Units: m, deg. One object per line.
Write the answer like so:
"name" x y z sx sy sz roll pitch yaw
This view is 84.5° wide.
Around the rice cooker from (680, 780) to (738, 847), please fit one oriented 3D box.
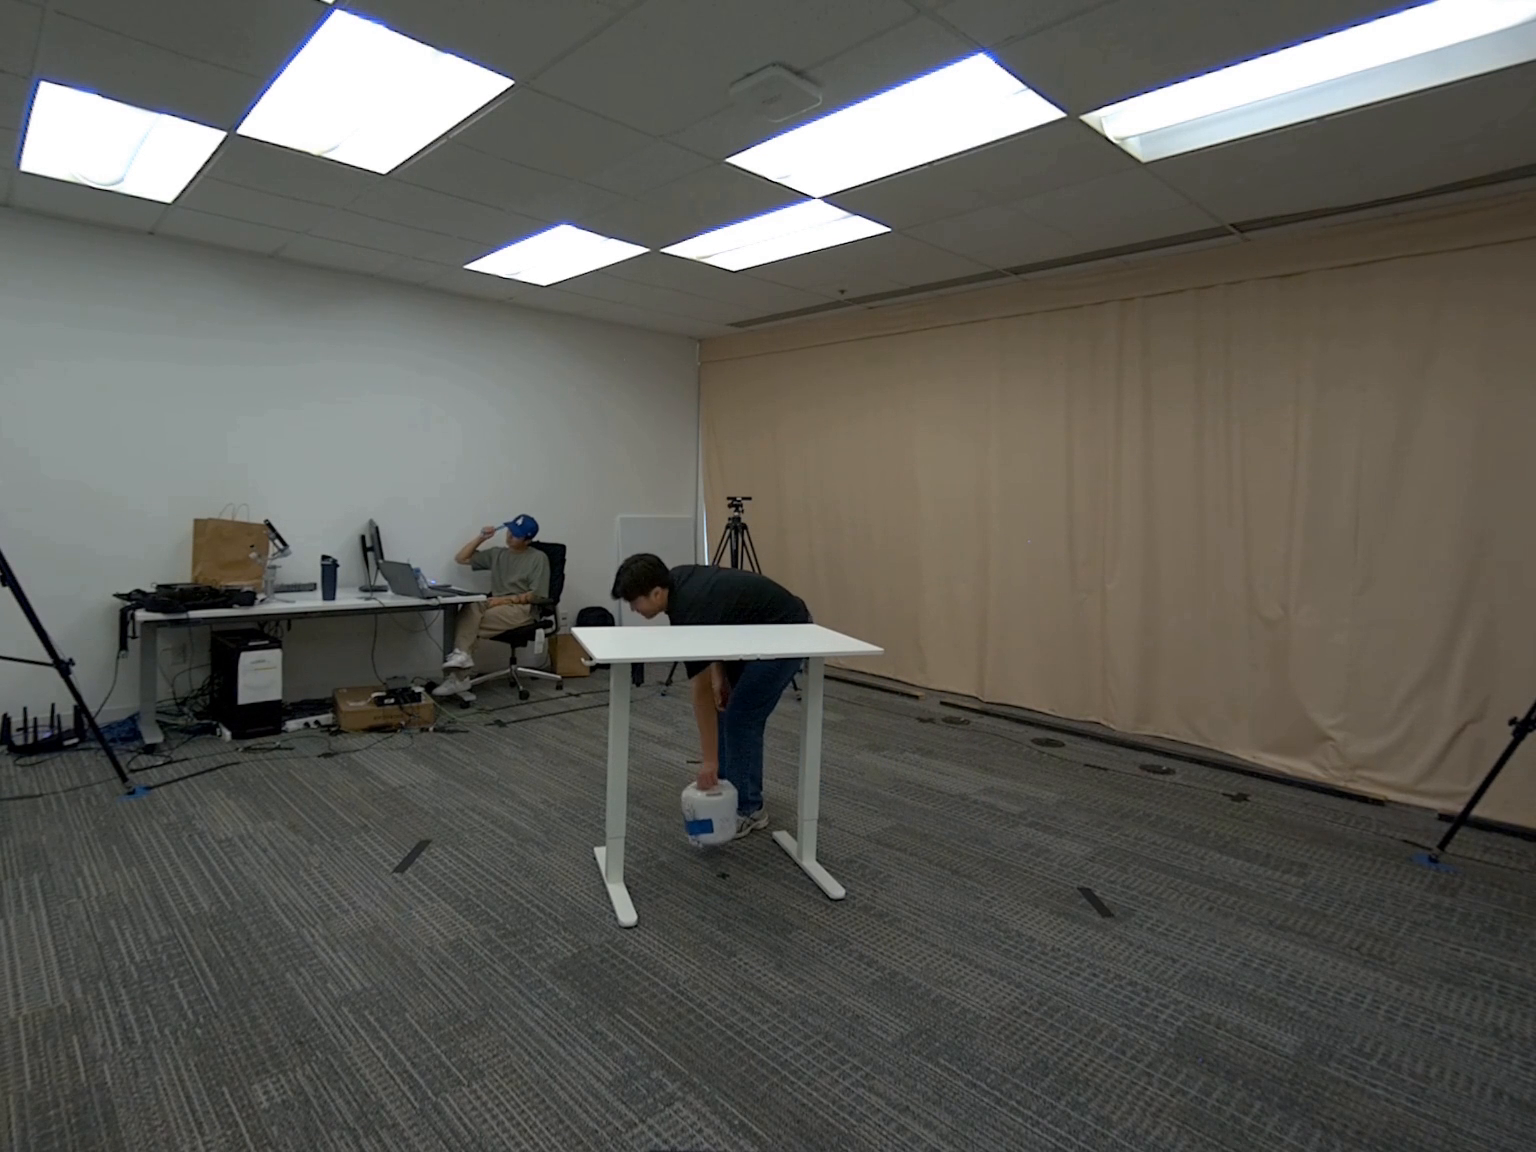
"rice cooker" -0.243 0.899 3.270 0.219 0.232 0.219 0 5 -8
